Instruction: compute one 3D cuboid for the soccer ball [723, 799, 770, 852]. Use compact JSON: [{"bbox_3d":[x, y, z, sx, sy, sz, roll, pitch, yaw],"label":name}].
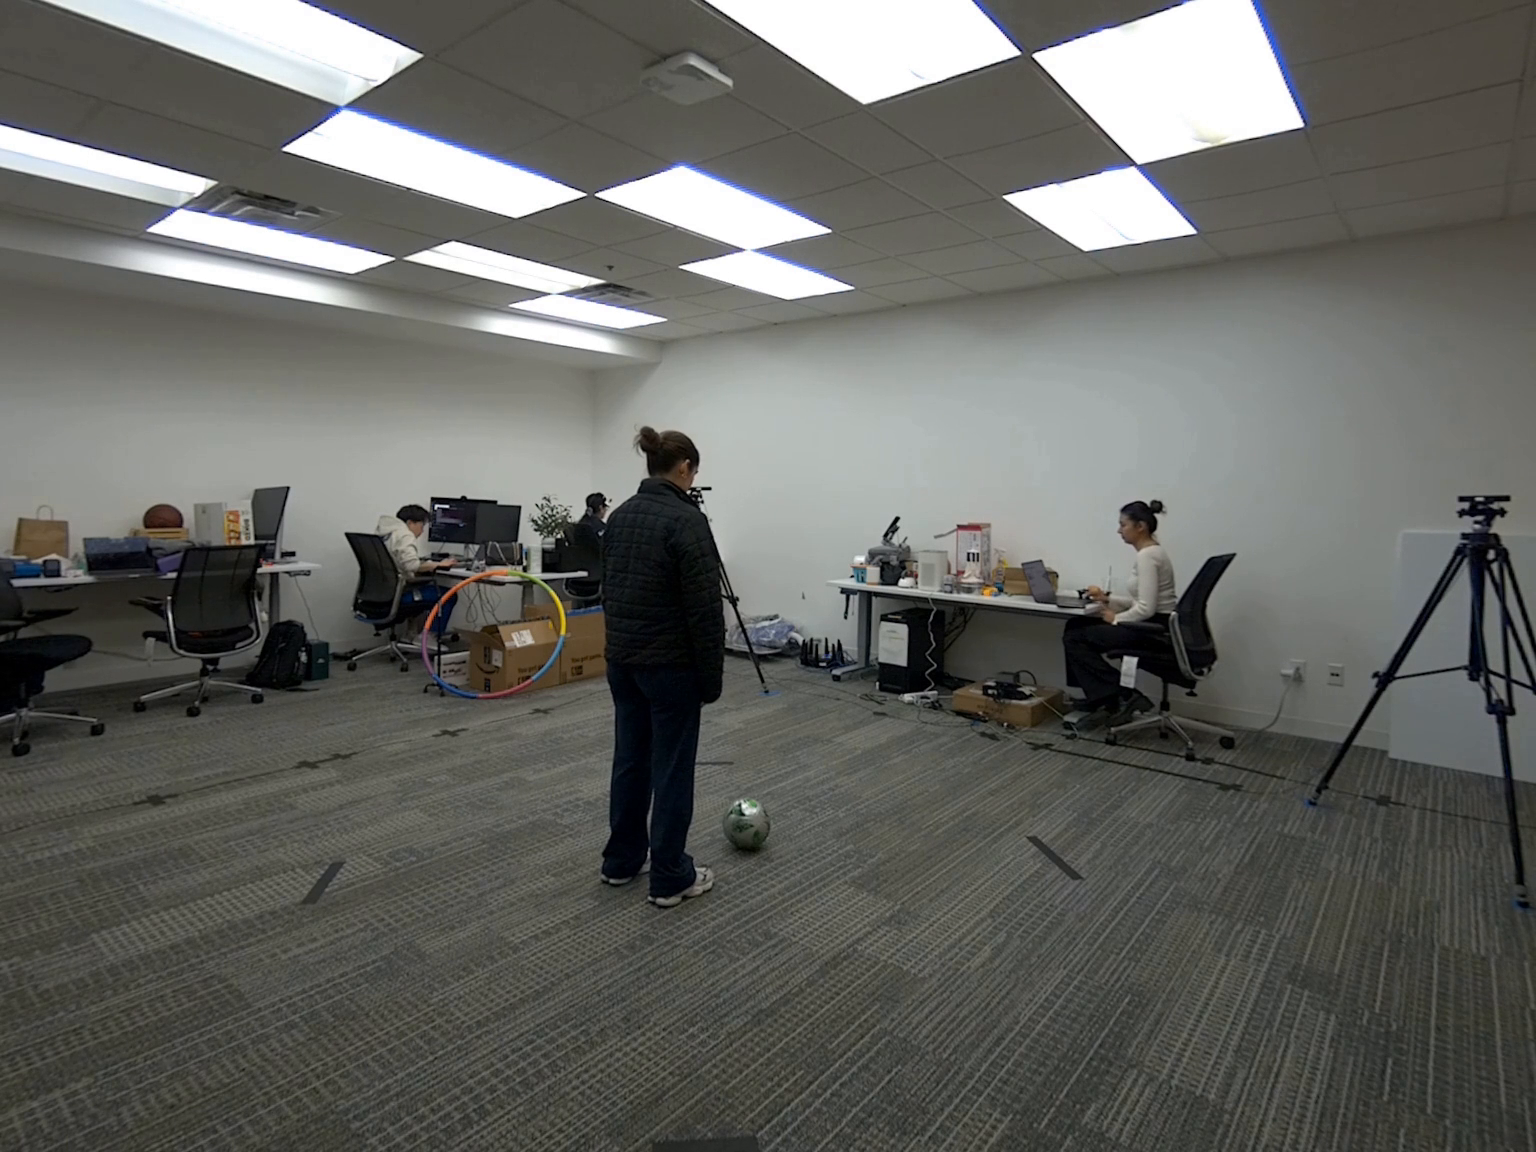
[{"bbox_3d":[-0.091,0.952,3.299,0.187,0.187,0.188,1,4,-2],"label":"soccer ball"}]
